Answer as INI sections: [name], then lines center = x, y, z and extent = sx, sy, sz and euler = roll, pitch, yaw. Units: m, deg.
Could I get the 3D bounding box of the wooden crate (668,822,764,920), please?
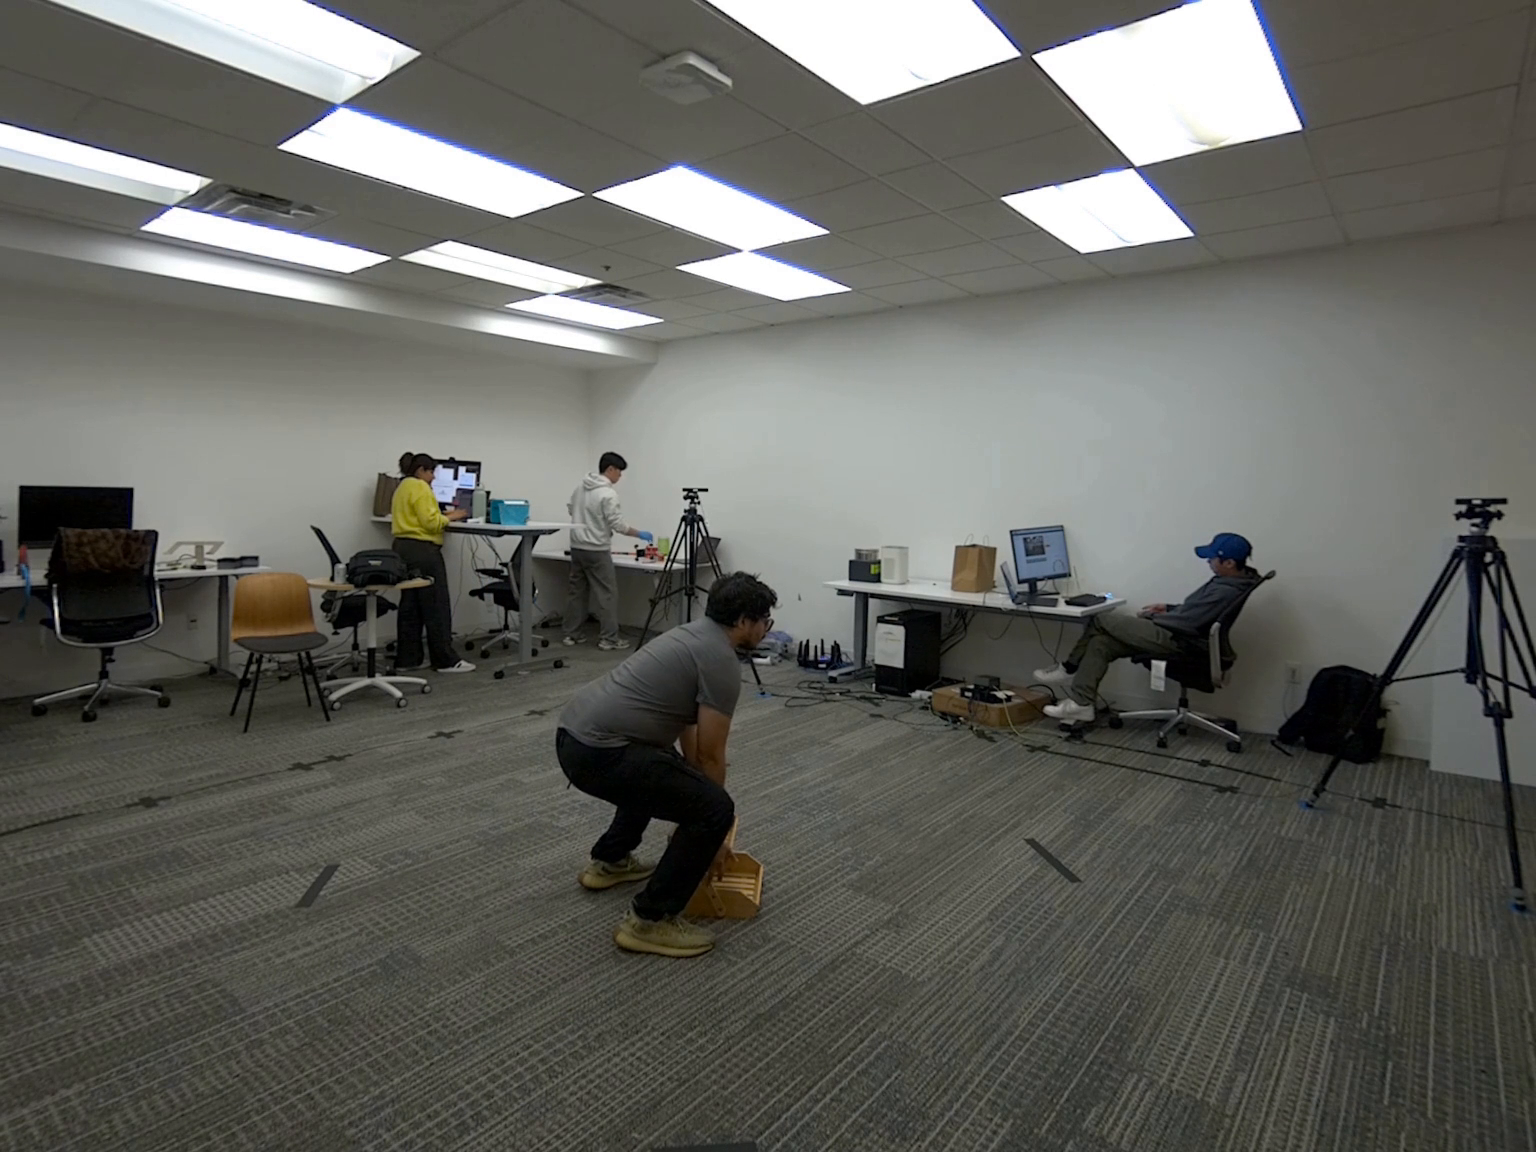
[wooden crate]
center = -0.170, 0.960, 2.899
extent = 0.304, 0.272, 0.323
euler = 0, 4, 5
